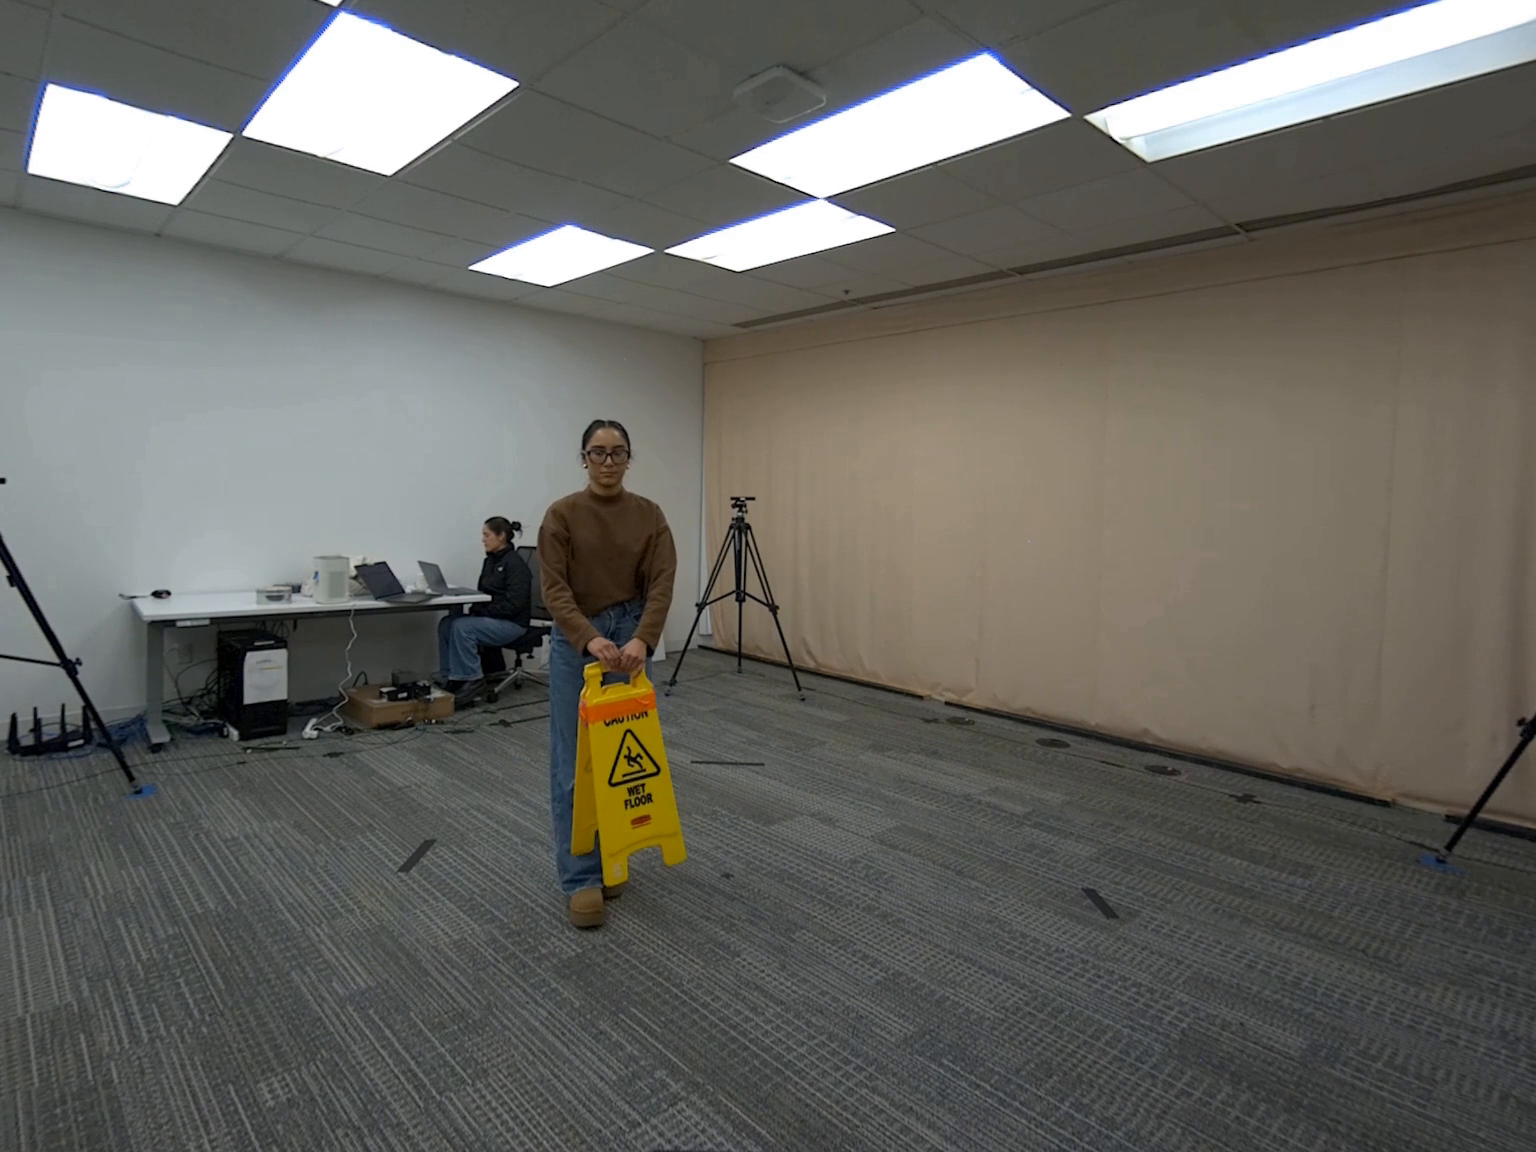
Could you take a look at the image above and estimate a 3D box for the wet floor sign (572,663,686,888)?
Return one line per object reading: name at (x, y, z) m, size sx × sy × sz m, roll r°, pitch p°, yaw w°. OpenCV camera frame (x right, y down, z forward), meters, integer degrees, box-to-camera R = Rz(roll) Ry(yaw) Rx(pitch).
wet floor sign at (-0.476, 0.584, 2.664) m, size 0.277 × 0.643 × 0.297 m, roll -7°, pitch 8°, yaw -34°
